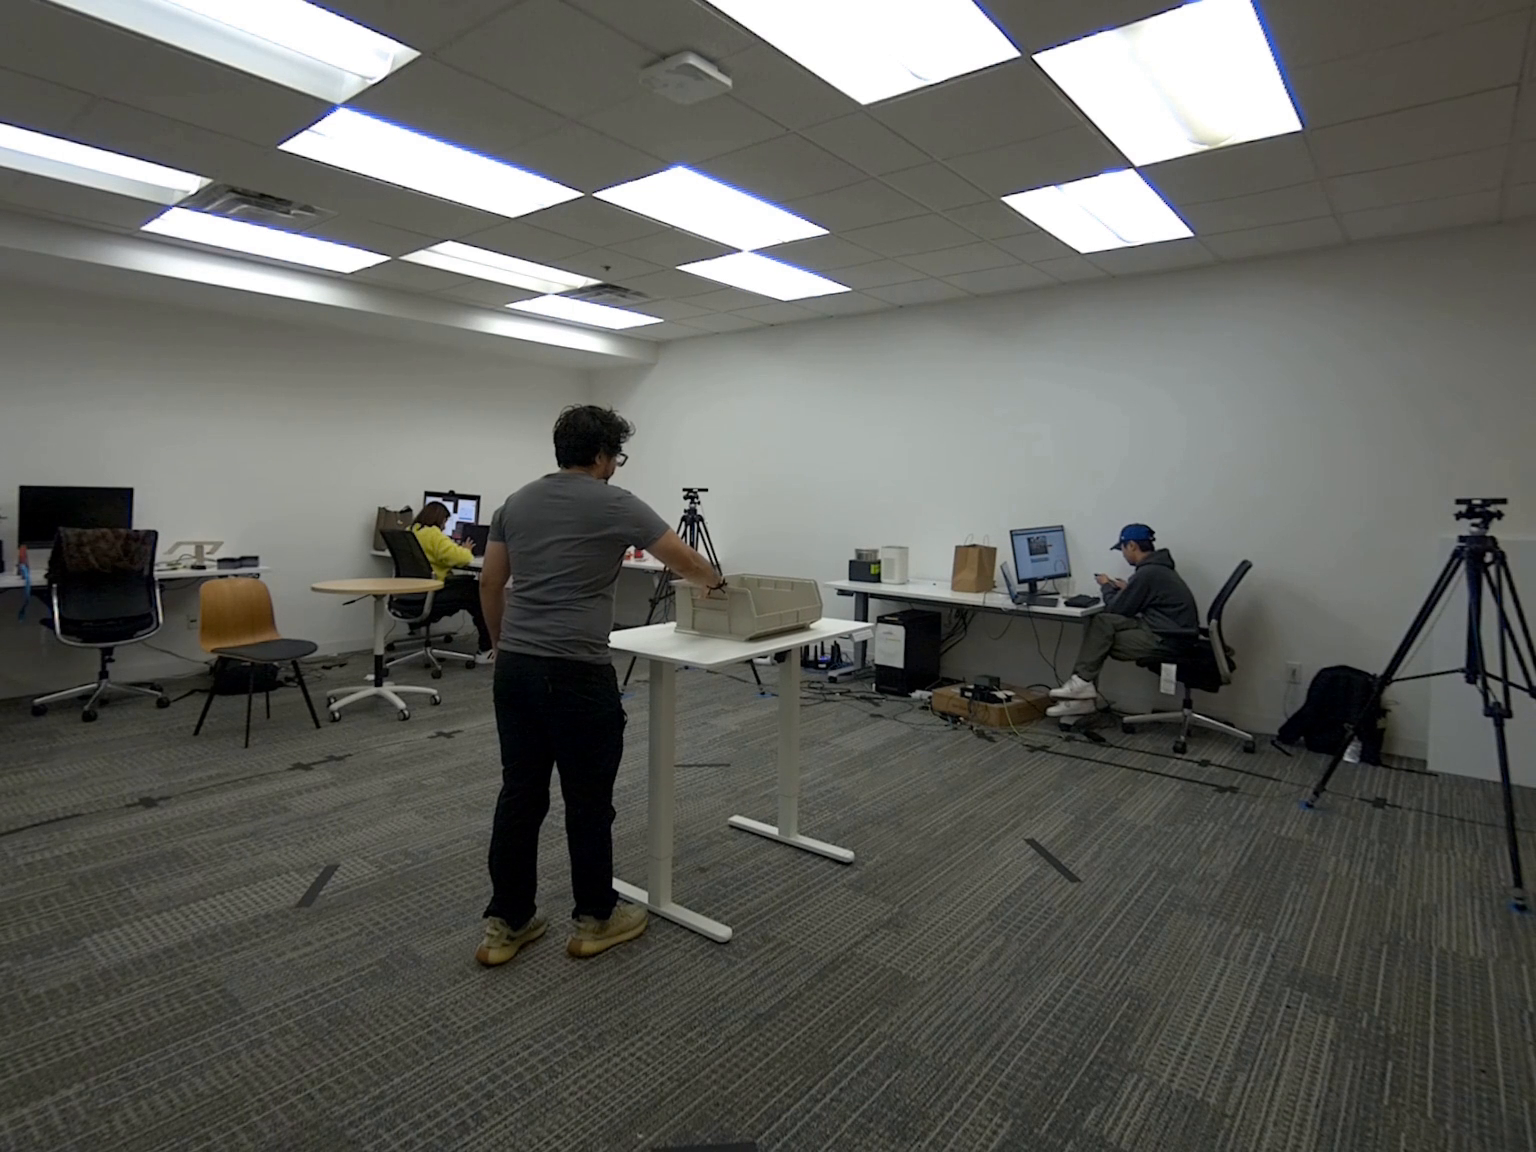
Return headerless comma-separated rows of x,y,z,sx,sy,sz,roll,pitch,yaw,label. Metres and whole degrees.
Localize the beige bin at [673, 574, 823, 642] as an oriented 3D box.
-0.079,0.104,3.059,0.389,0.188,0.410,3,6,37,beige bin
